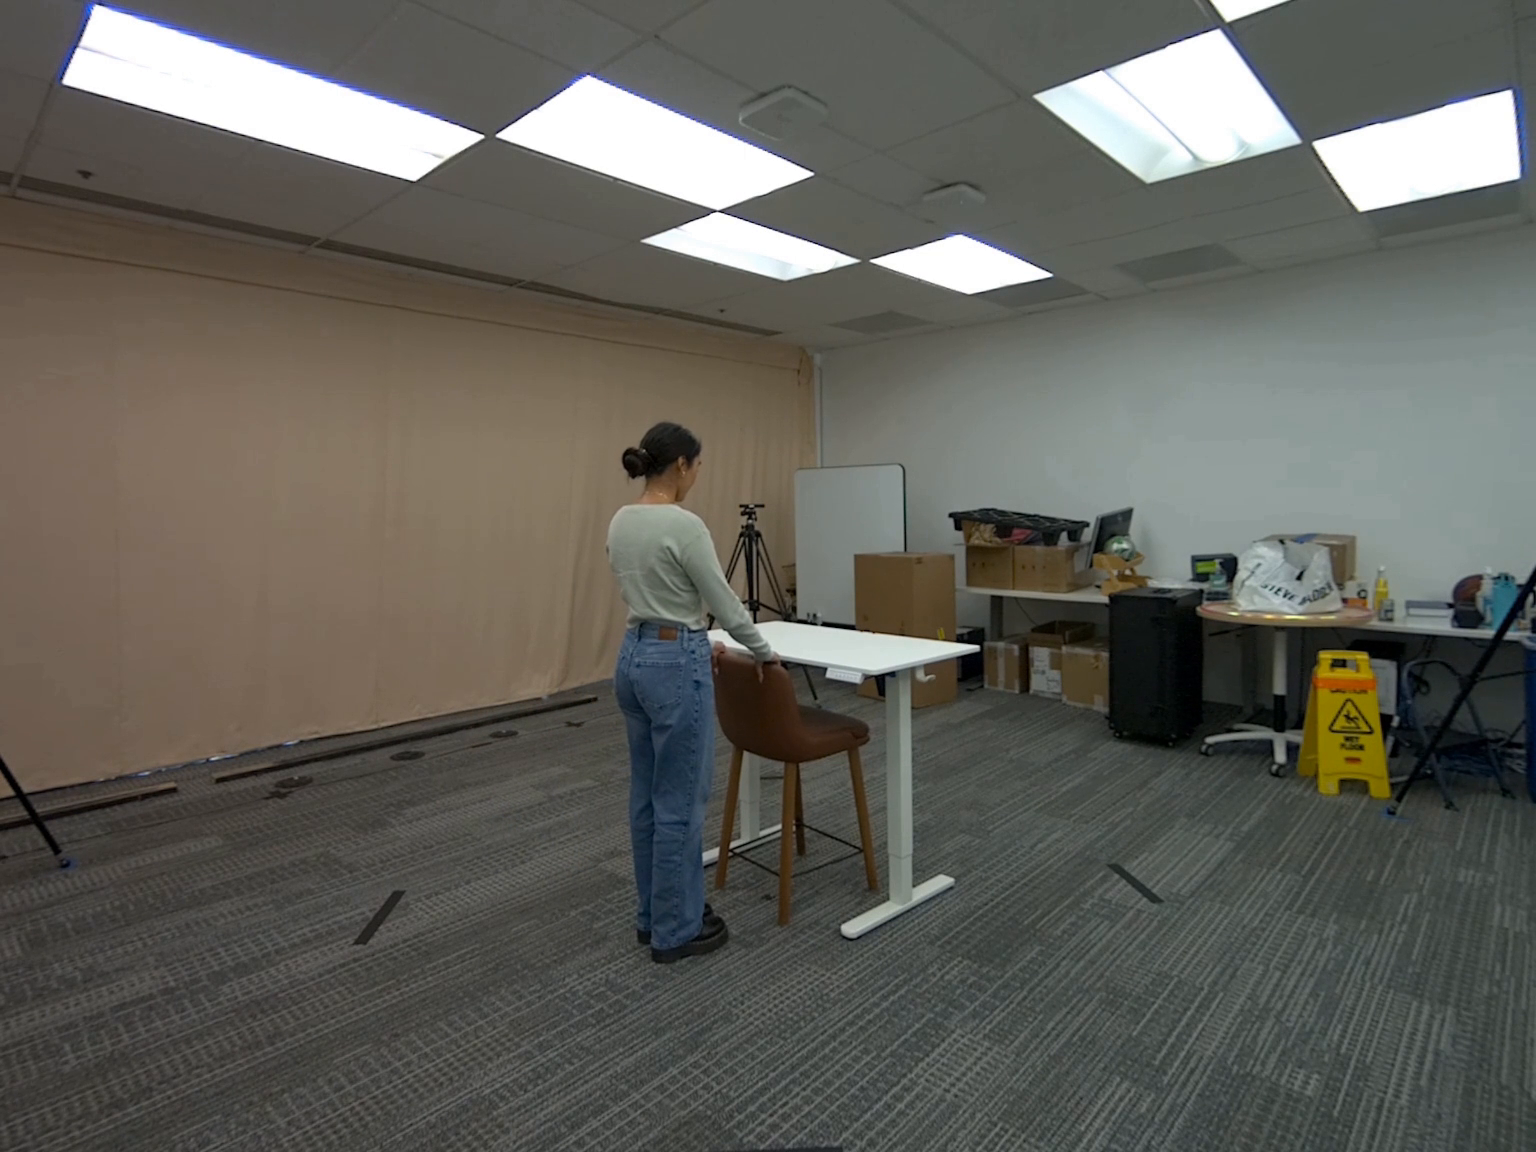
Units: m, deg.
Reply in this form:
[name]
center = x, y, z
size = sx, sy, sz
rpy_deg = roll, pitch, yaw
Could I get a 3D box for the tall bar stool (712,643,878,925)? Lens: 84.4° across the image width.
[tall bar stool]
center = 0.082, 0.701, 3.025
size = 0.454, 0.887, 0.471
rpy_deg = -6, 6, -38
